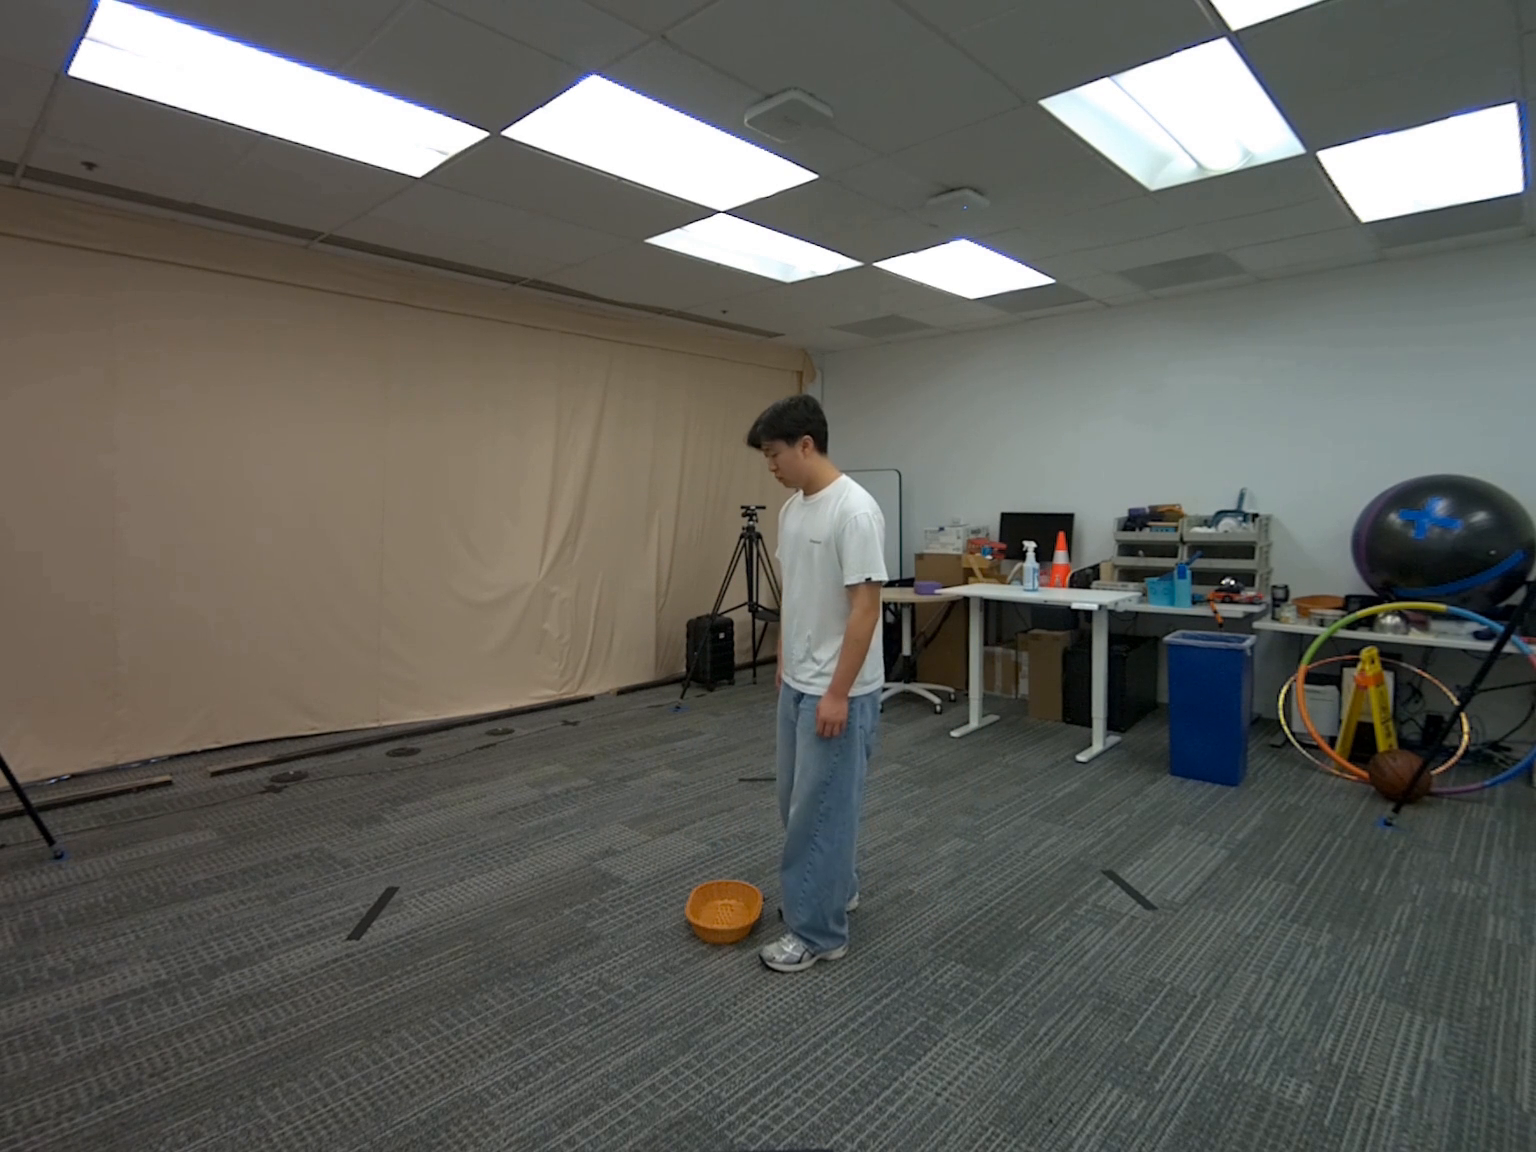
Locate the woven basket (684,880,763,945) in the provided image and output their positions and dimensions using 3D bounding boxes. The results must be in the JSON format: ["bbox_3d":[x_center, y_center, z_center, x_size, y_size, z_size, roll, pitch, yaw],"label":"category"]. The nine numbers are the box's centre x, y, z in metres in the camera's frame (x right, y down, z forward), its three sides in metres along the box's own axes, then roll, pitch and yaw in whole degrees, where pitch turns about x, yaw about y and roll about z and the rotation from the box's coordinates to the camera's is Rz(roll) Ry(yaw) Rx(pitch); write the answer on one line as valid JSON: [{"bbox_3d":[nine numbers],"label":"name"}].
[{"bbox_3d":[-0.143,1.121,2.808,0.255,0.073,0.347,1,4,9],"label":"woven basket"}]
